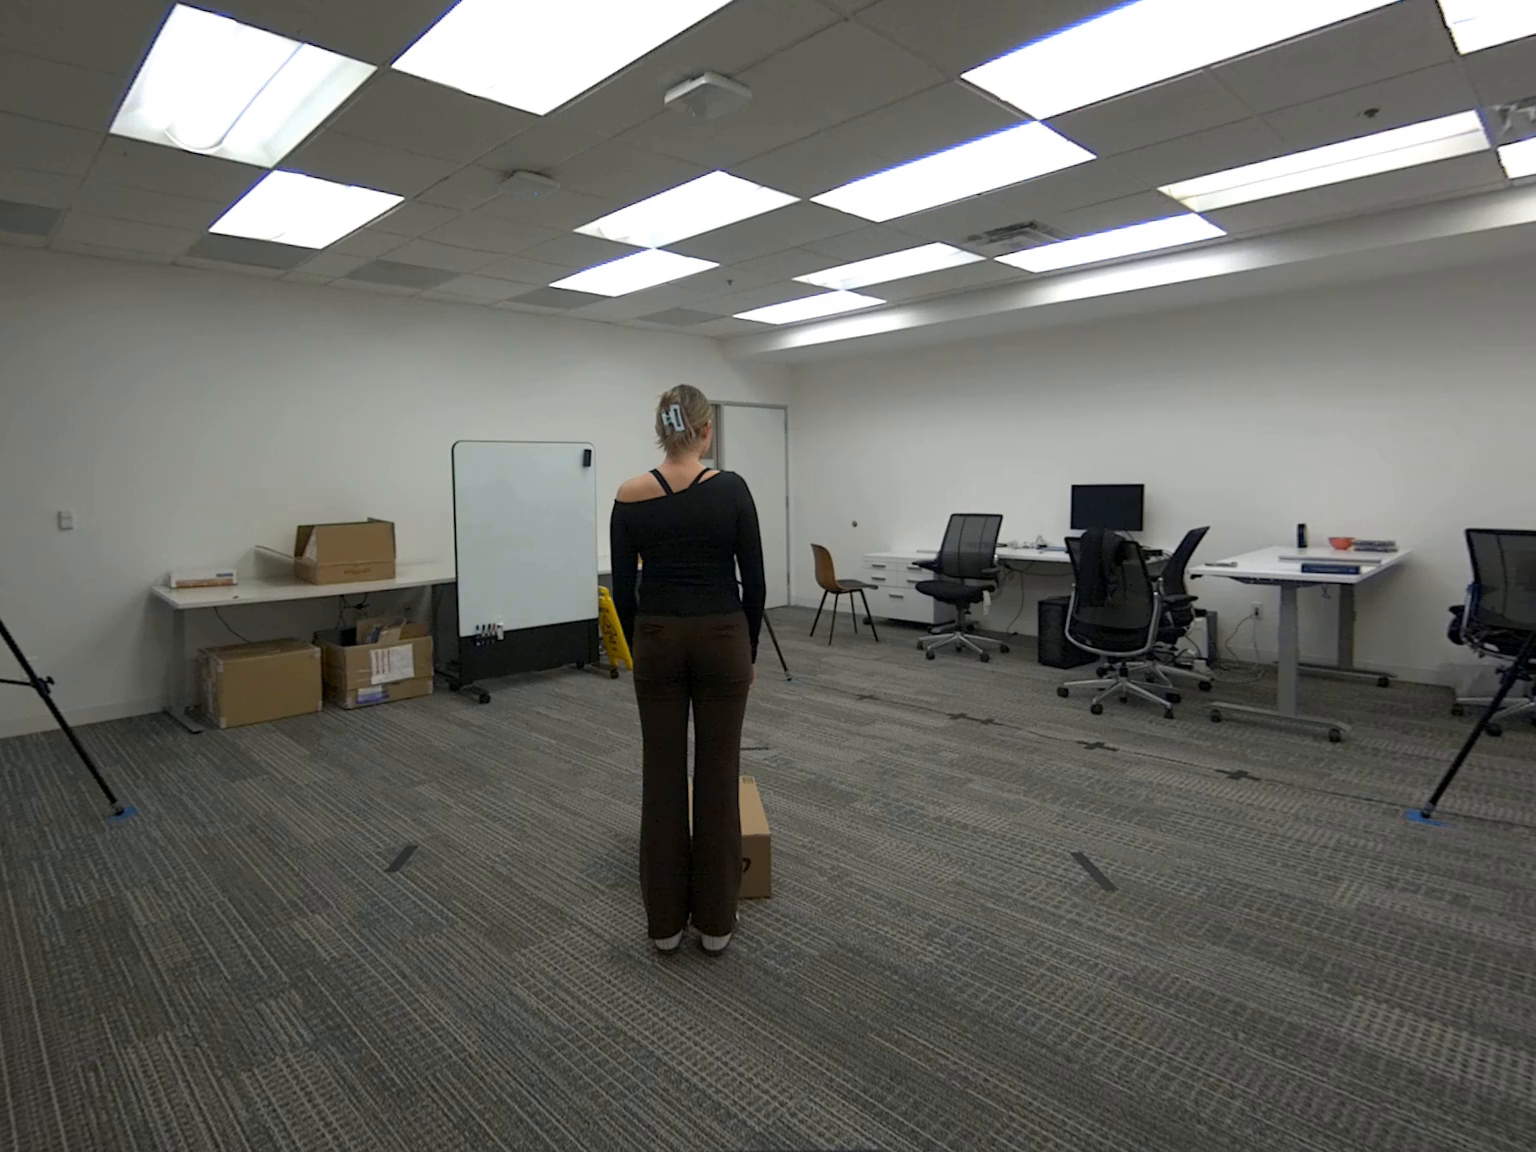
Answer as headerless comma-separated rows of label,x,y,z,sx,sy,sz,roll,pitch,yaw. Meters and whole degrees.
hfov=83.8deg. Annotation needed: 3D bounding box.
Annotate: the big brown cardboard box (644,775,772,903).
big brown cardboard box,-0.224,0.935,3.111,0.415,0.232,0.595,-2,7,-6
